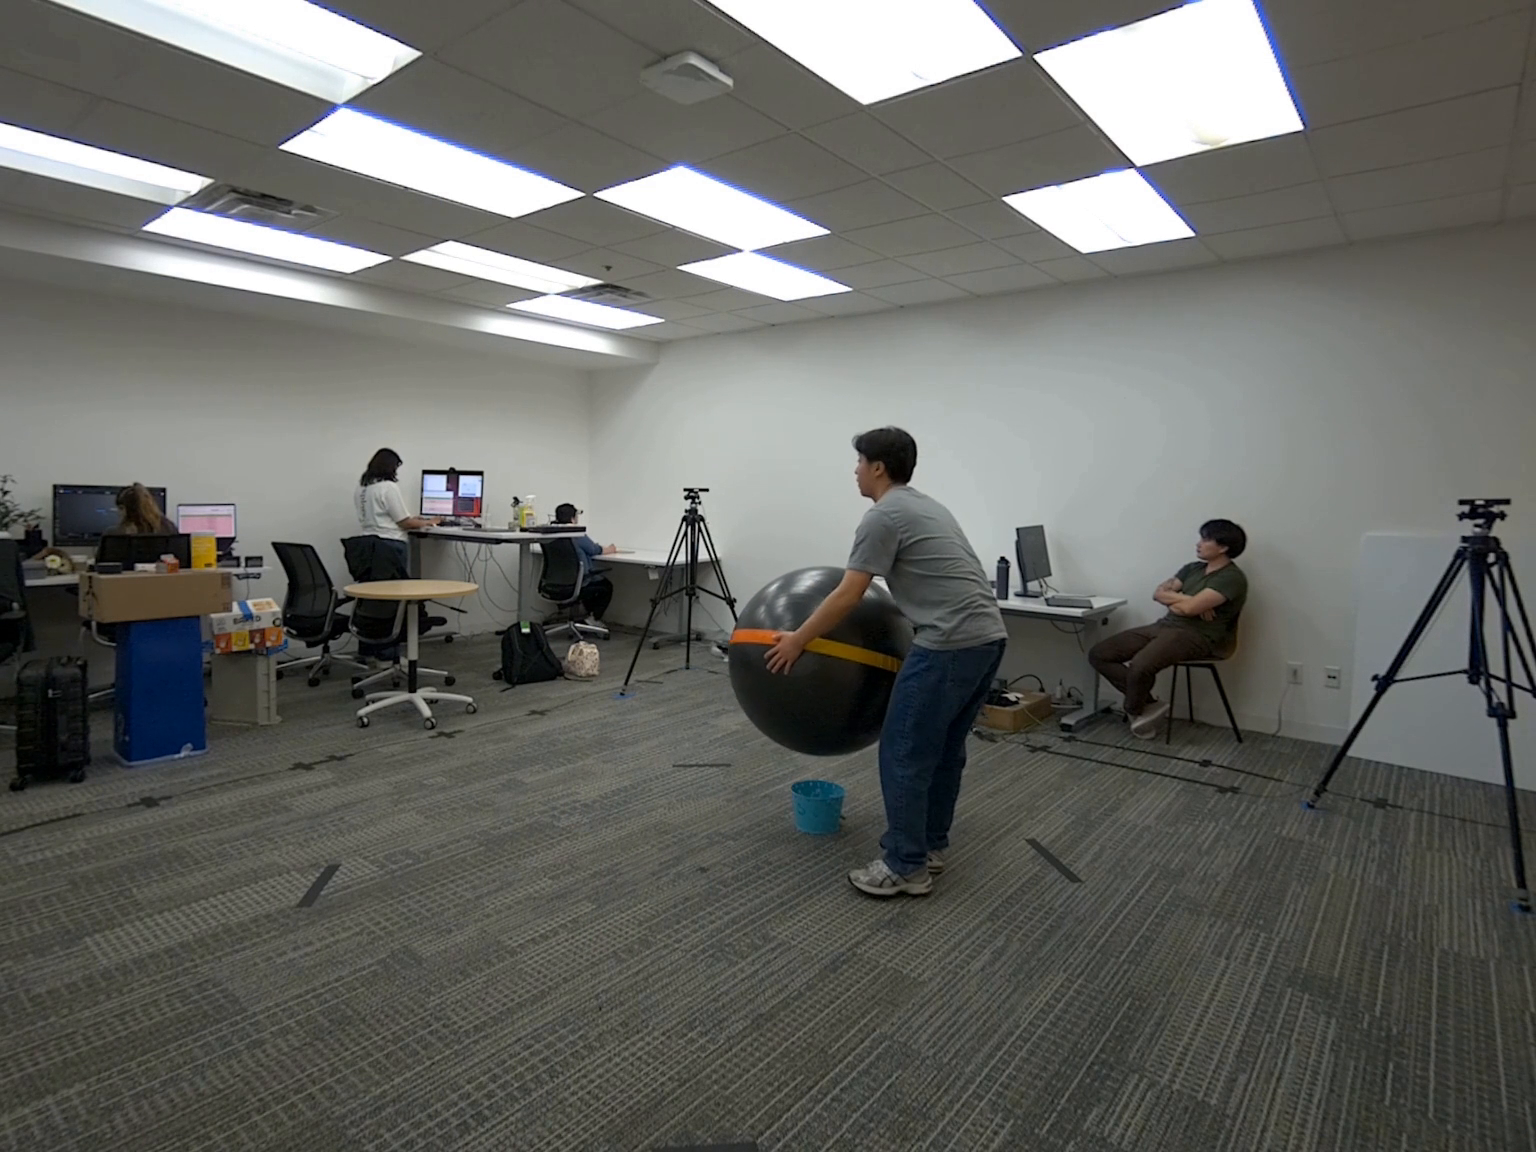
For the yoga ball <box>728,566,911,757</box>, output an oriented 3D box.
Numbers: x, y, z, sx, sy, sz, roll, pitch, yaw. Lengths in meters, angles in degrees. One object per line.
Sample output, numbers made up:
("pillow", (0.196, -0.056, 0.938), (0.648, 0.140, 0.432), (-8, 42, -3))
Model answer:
("yoga ball", (0.202, 0.344, 3.442), (0.757, 0.755, 0.762), (1, 4, -2))
